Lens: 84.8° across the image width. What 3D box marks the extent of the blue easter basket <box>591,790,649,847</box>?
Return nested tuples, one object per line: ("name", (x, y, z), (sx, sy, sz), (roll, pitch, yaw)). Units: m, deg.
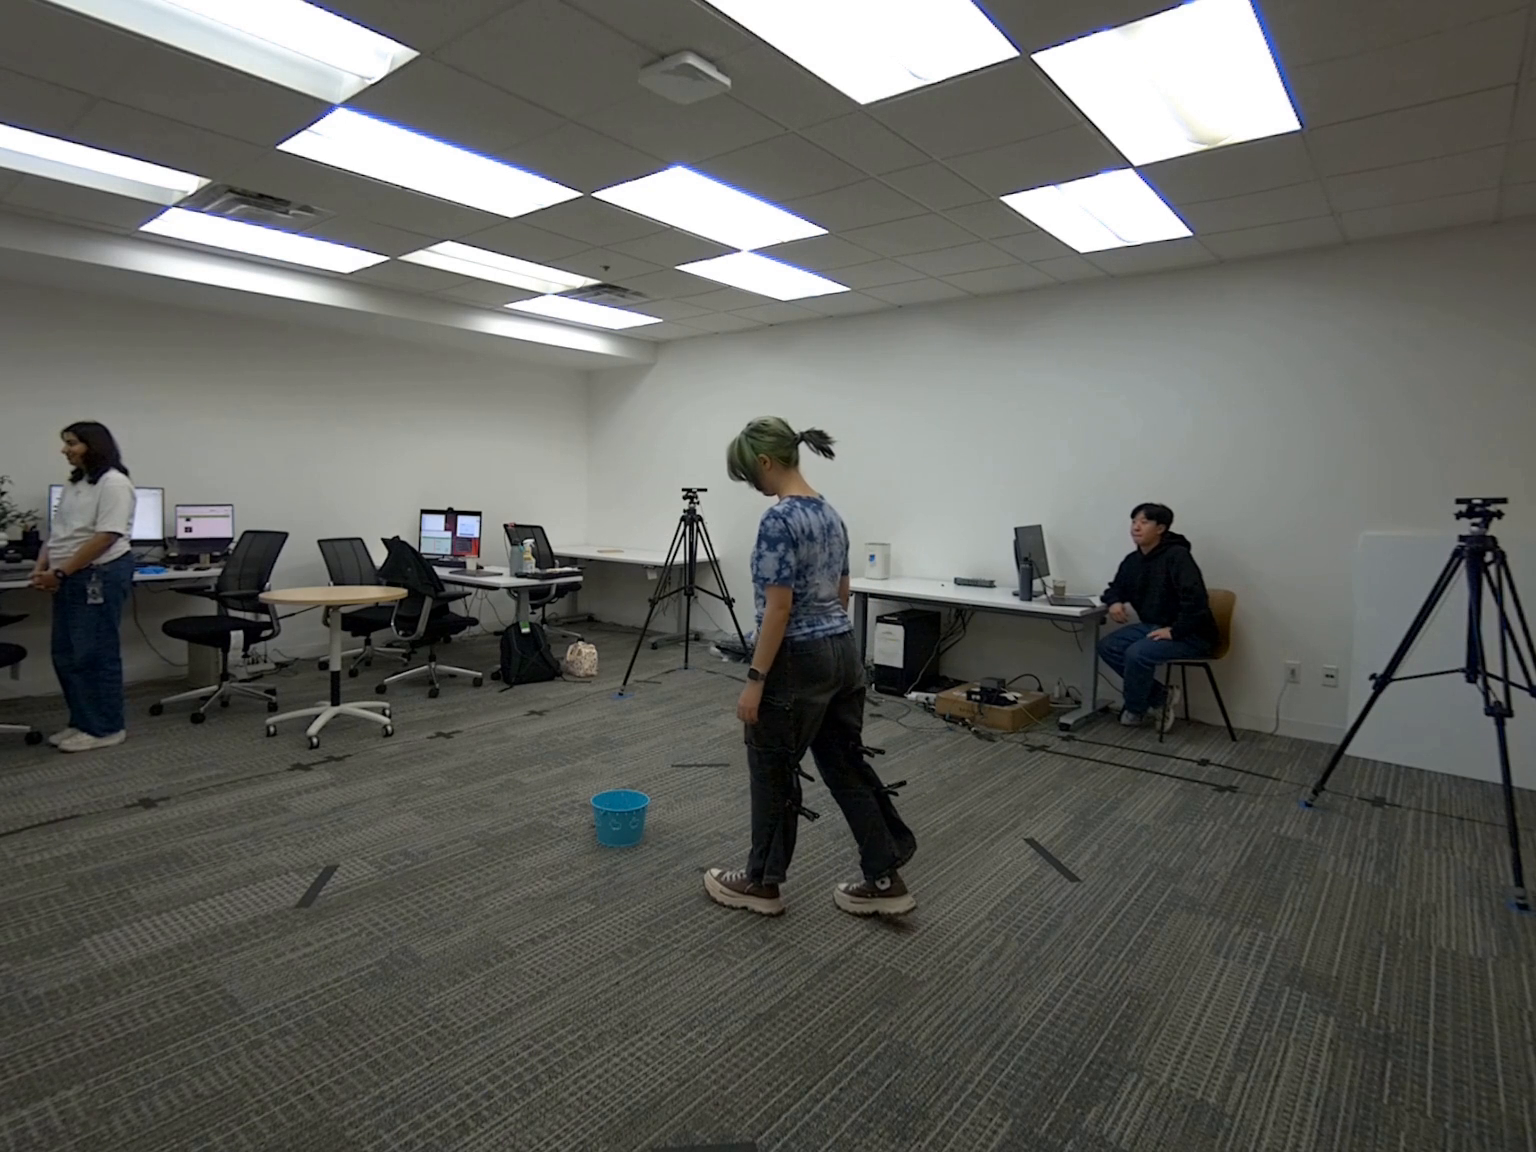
("blue easter basket", (-0.599, 0.960, 3.386), (0.243, 0.155, 0.245), (1, 5, -2))
